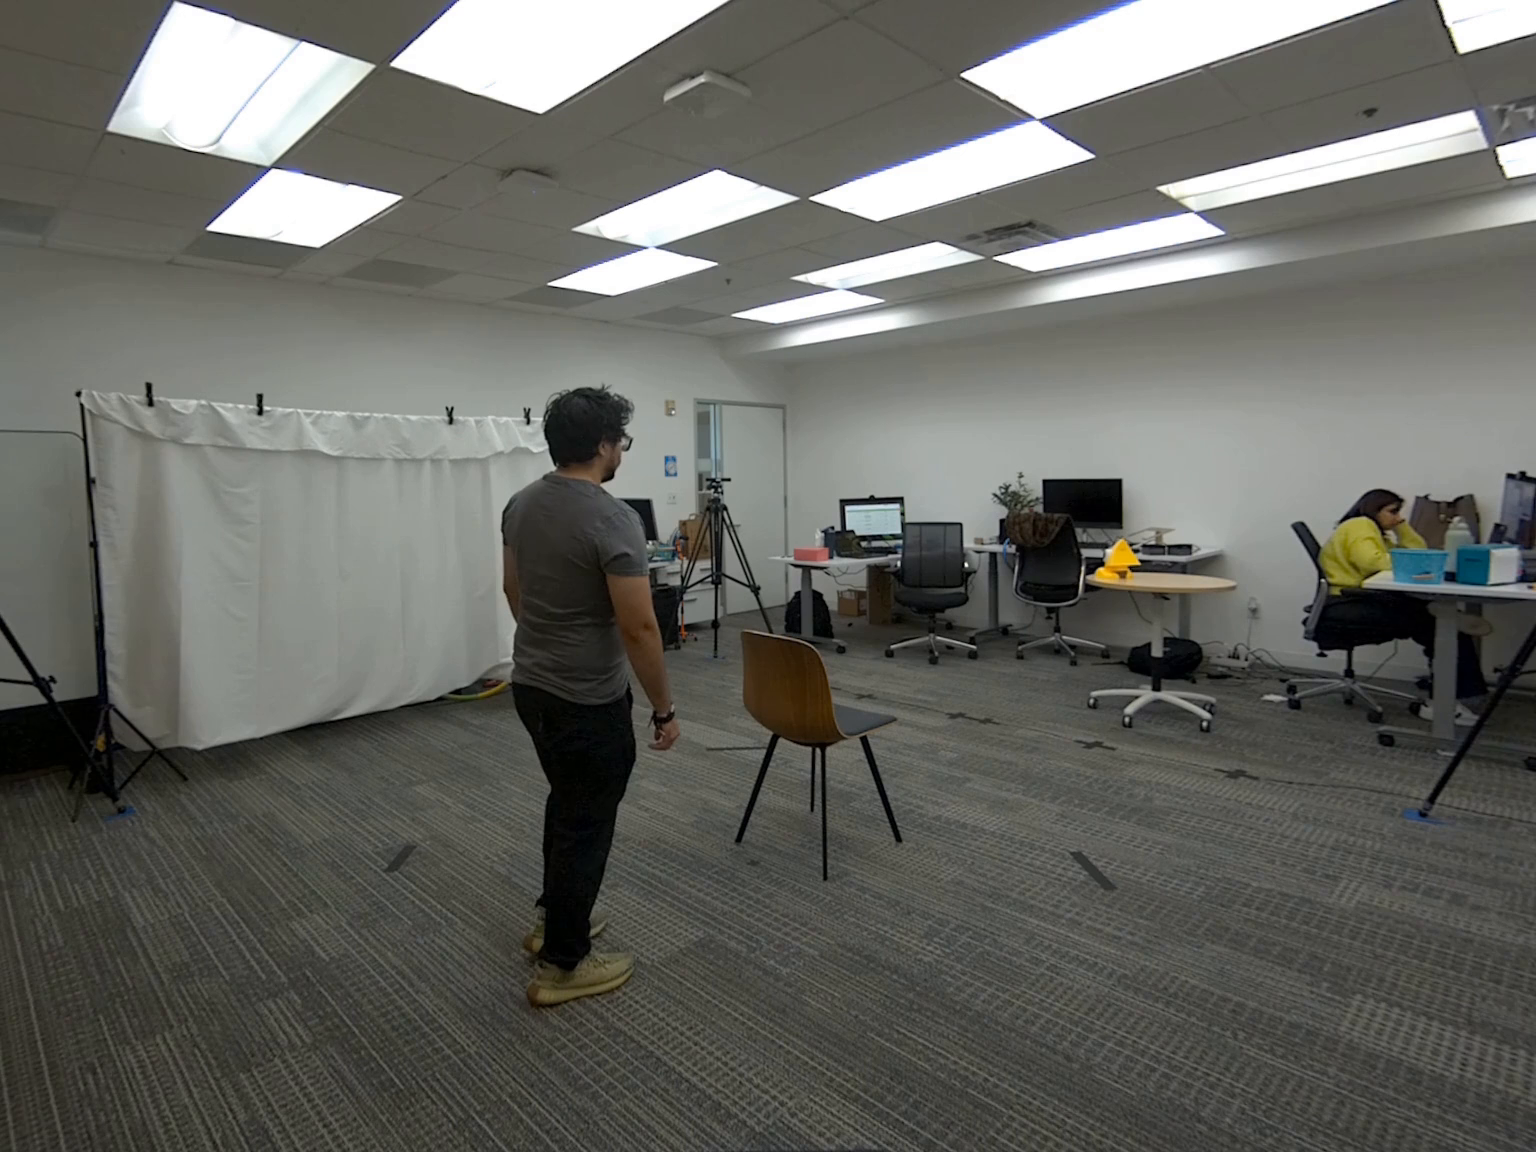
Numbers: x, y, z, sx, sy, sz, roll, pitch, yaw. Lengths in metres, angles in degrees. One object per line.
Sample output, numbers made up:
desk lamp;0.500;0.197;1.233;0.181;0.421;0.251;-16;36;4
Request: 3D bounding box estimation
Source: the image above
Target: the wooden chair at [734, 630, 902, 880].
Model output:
wooden chair;0.193;0.596;3.243;0.511;0.871;0.493;-10;10;-44
